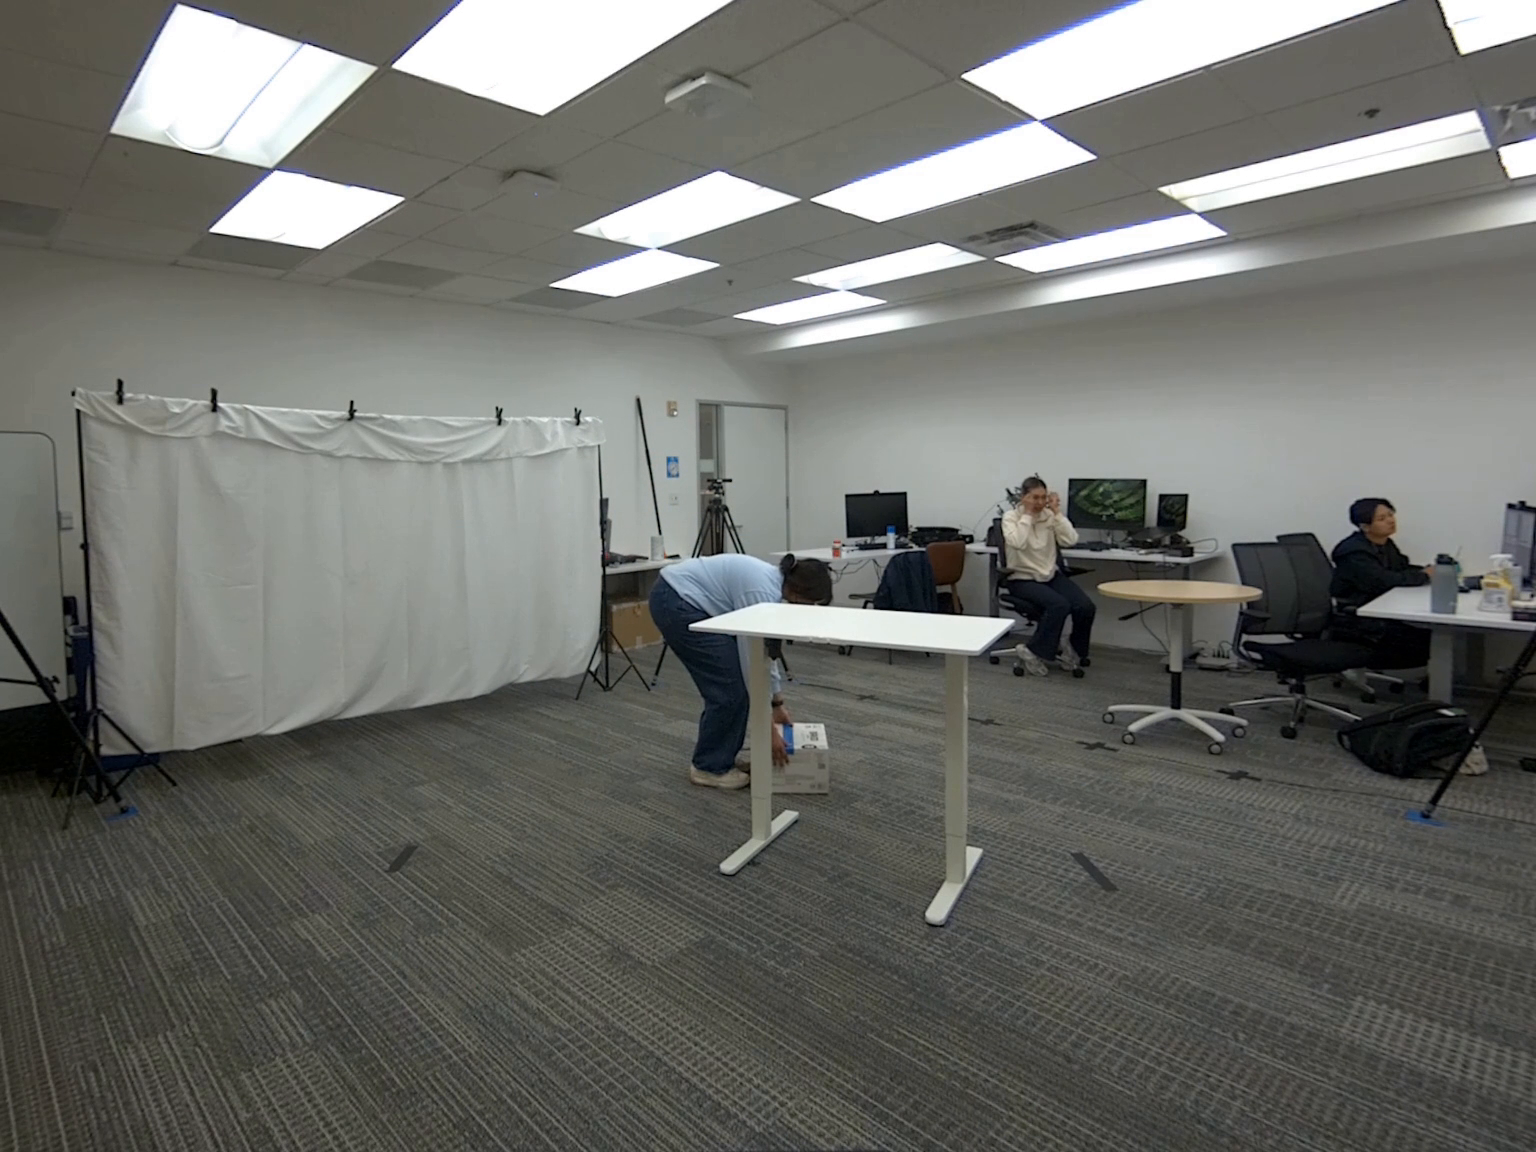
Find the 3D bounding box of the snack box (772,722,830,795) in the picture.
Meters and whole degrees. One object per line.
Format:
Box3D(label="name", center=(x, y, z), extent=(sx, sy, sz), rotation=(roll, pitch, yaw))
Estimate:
Box3D(label="snack box", center=(0.097, 0.838, 3.973), extent=(0.341, 0.205, 0.406), rotation=(-2, 5, 2))
